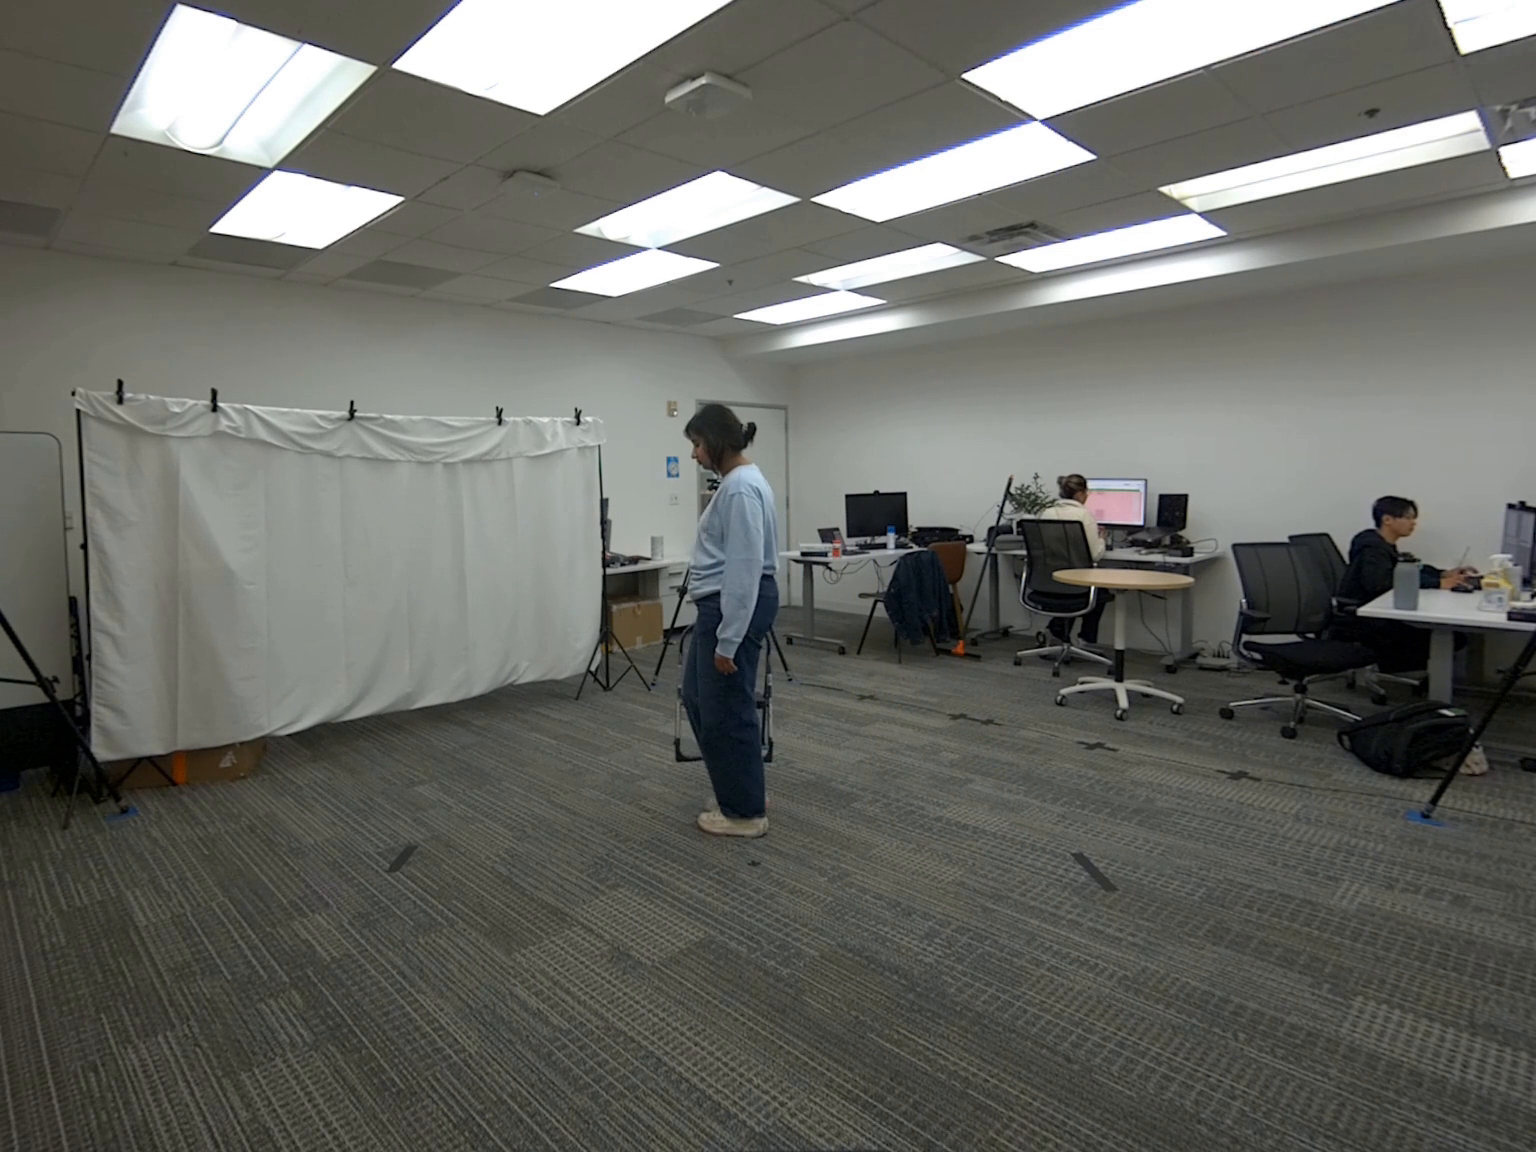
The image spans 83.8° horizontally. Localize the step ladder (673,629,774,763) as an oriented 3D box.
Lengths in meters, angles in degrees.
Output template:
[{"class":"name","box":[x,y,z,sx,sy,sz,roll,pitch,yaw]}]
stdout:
[{"class":"step ladder","box":[-0.196,0.494,3.801,0.428,0.606,0.351,0,0,-6]}]
